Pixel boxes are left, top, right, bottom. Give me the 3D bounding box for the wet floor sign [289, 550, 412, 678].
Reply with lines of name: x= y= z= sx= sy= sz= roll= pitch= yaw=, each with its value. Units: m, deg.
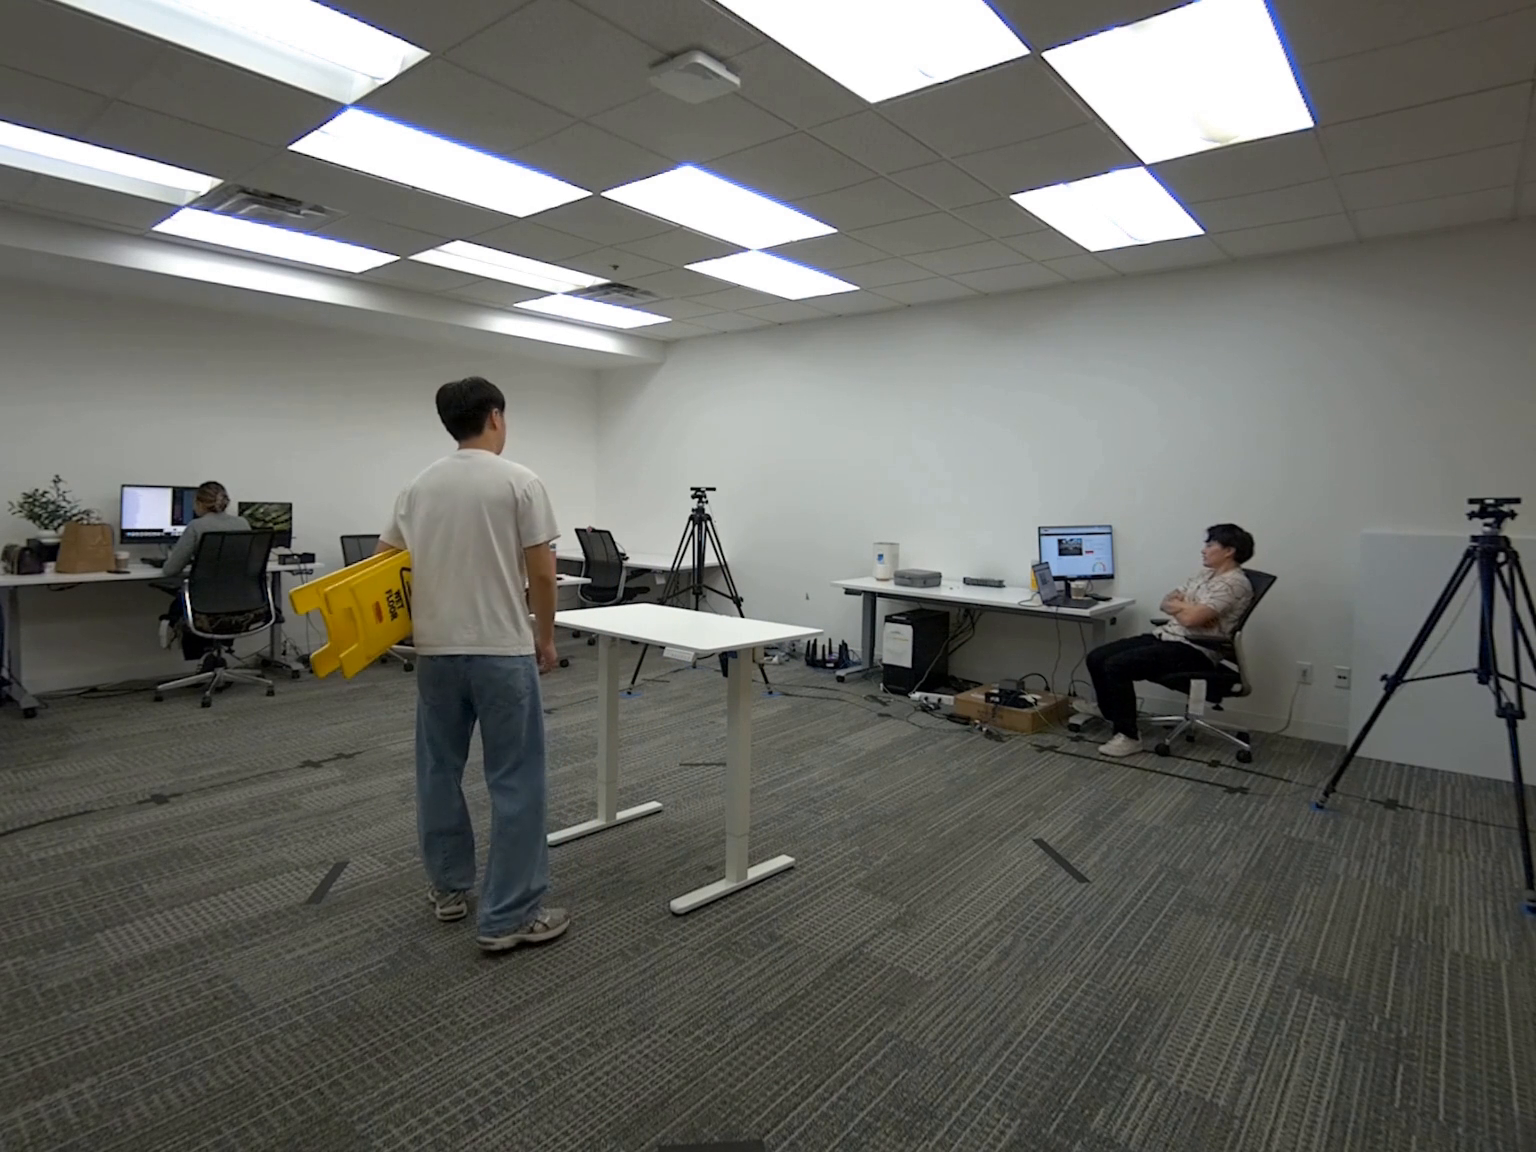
wet floor sign: x=-1.142 y=0.044 z=2.668 sx=0.296 sy=0.276 sz=0.646 roll=-1 pitch=22 yaw=19
